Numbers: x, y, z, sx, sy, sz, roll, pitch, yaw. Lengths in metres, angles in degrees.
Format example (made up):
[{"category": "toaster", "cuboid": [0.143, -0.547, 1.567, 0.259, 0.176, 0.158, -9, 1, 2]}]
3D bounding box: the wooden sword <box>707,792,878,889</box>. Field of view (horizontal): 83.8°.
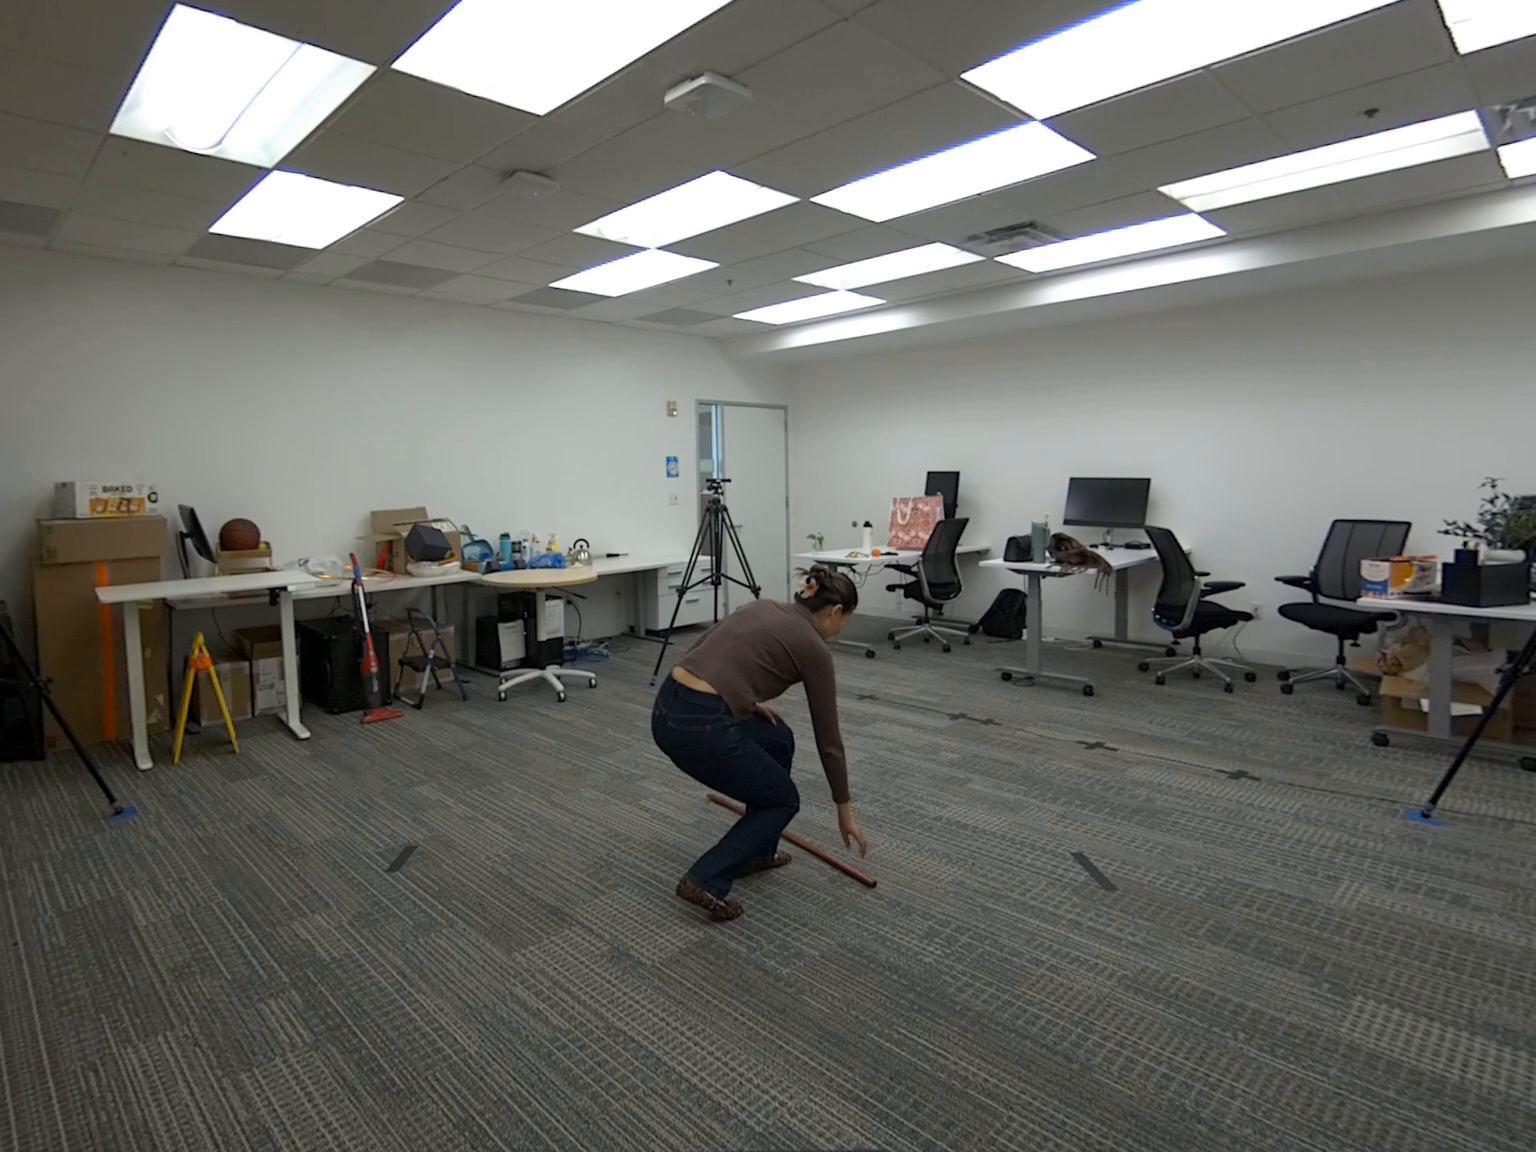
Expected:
[{"category": "wooden sword", "cuboid": [0.051, 0.994, 3.328, 1.055, 0.024, 0.050, 7, -36, 54]}]
